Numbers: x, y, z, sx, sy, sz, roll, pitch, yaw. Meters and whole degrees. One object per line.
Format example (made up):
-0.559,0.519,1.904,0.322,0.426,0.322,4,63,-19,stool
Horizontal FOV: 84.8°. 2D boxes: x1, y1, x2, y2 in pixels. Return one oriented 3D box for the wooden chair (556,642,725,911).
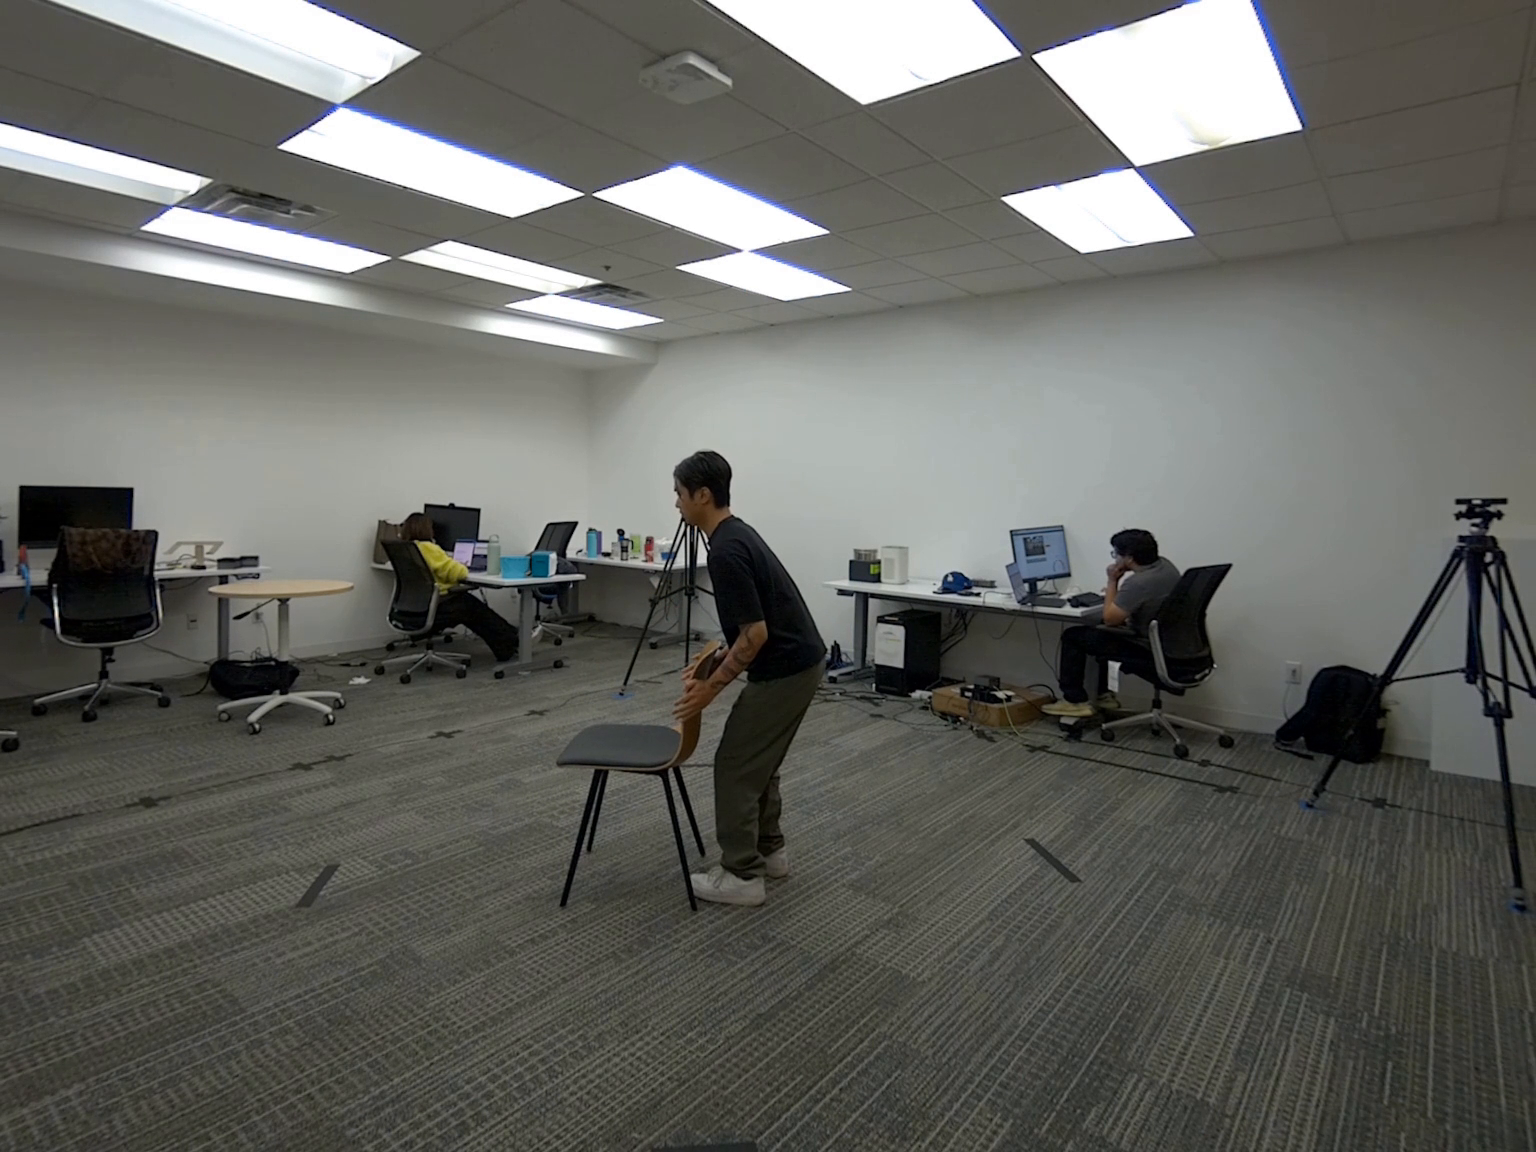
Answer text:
-0.476,0.650,2.996,0.524,0.874,0.479,5,4,1,wooden chair
